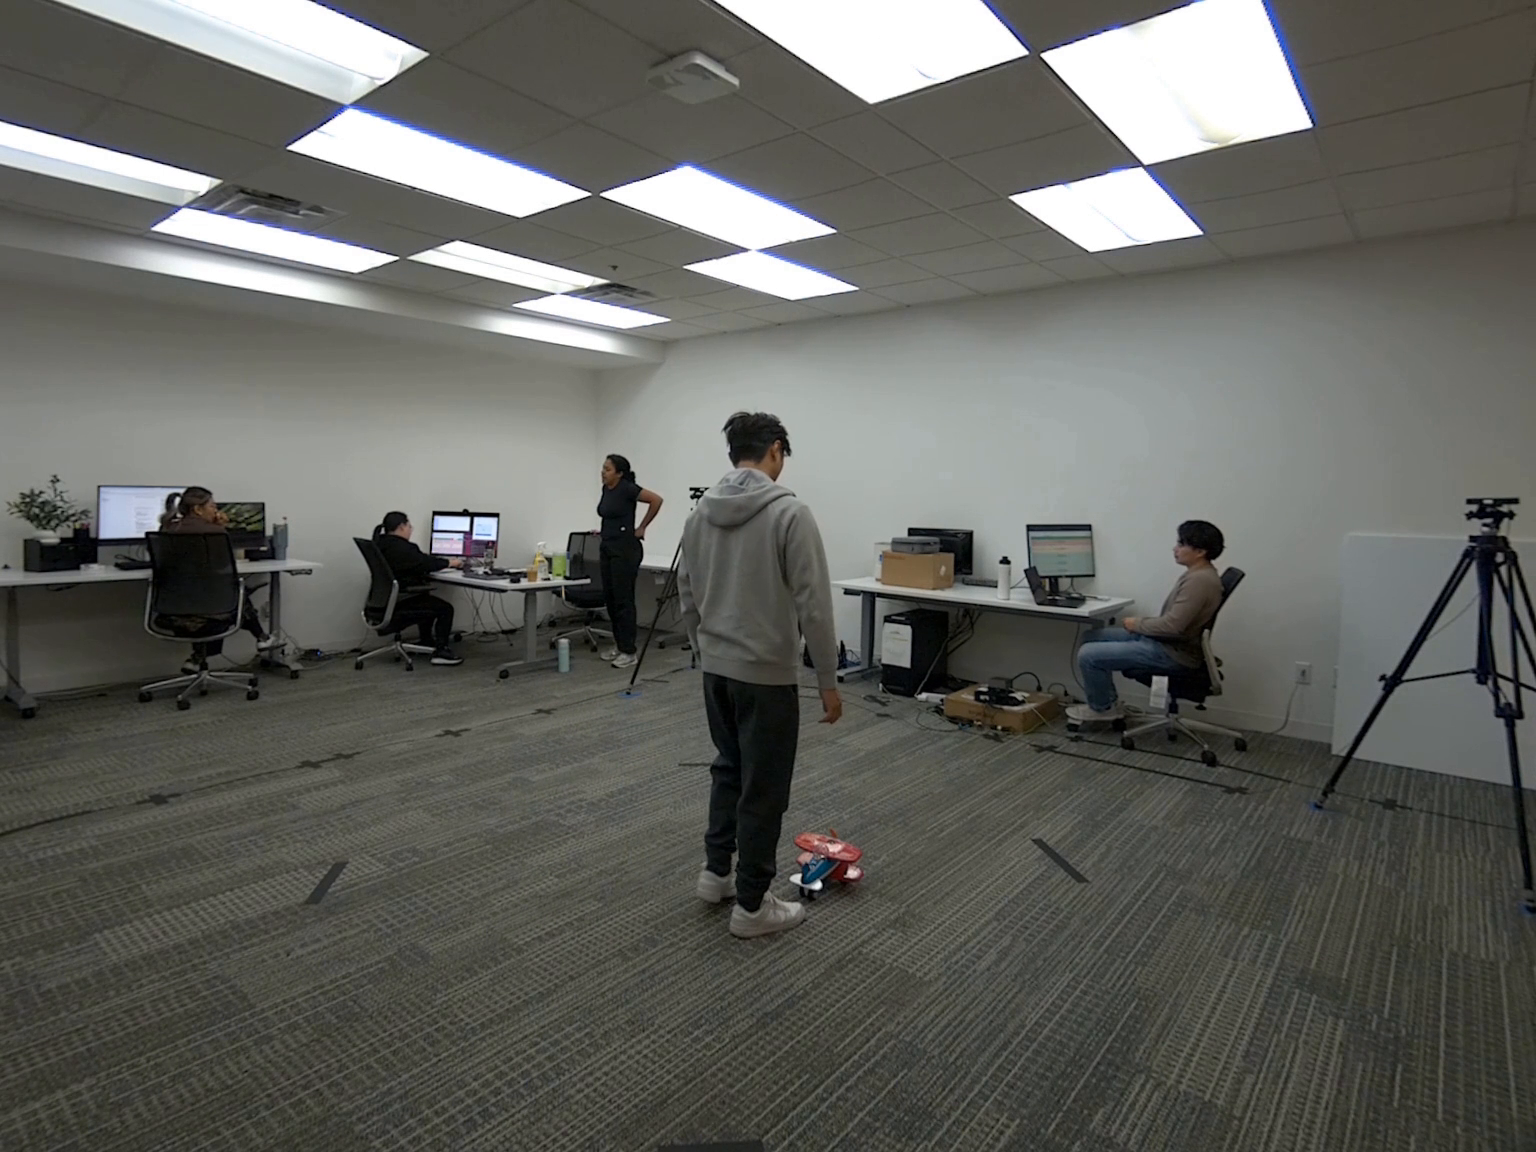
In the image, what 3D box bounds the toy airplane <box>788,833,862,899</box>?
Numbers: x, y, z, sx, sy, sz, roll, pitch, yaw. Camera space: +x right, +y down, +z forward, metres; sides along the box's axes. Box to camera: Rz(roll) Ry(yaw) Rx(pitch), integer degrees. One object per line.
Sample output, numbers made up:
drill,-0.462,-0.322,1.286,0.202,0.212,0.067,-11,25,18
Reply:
toy airplane,0.201,1.015,2.966,0.254,0.156,0.257,2,3,9
